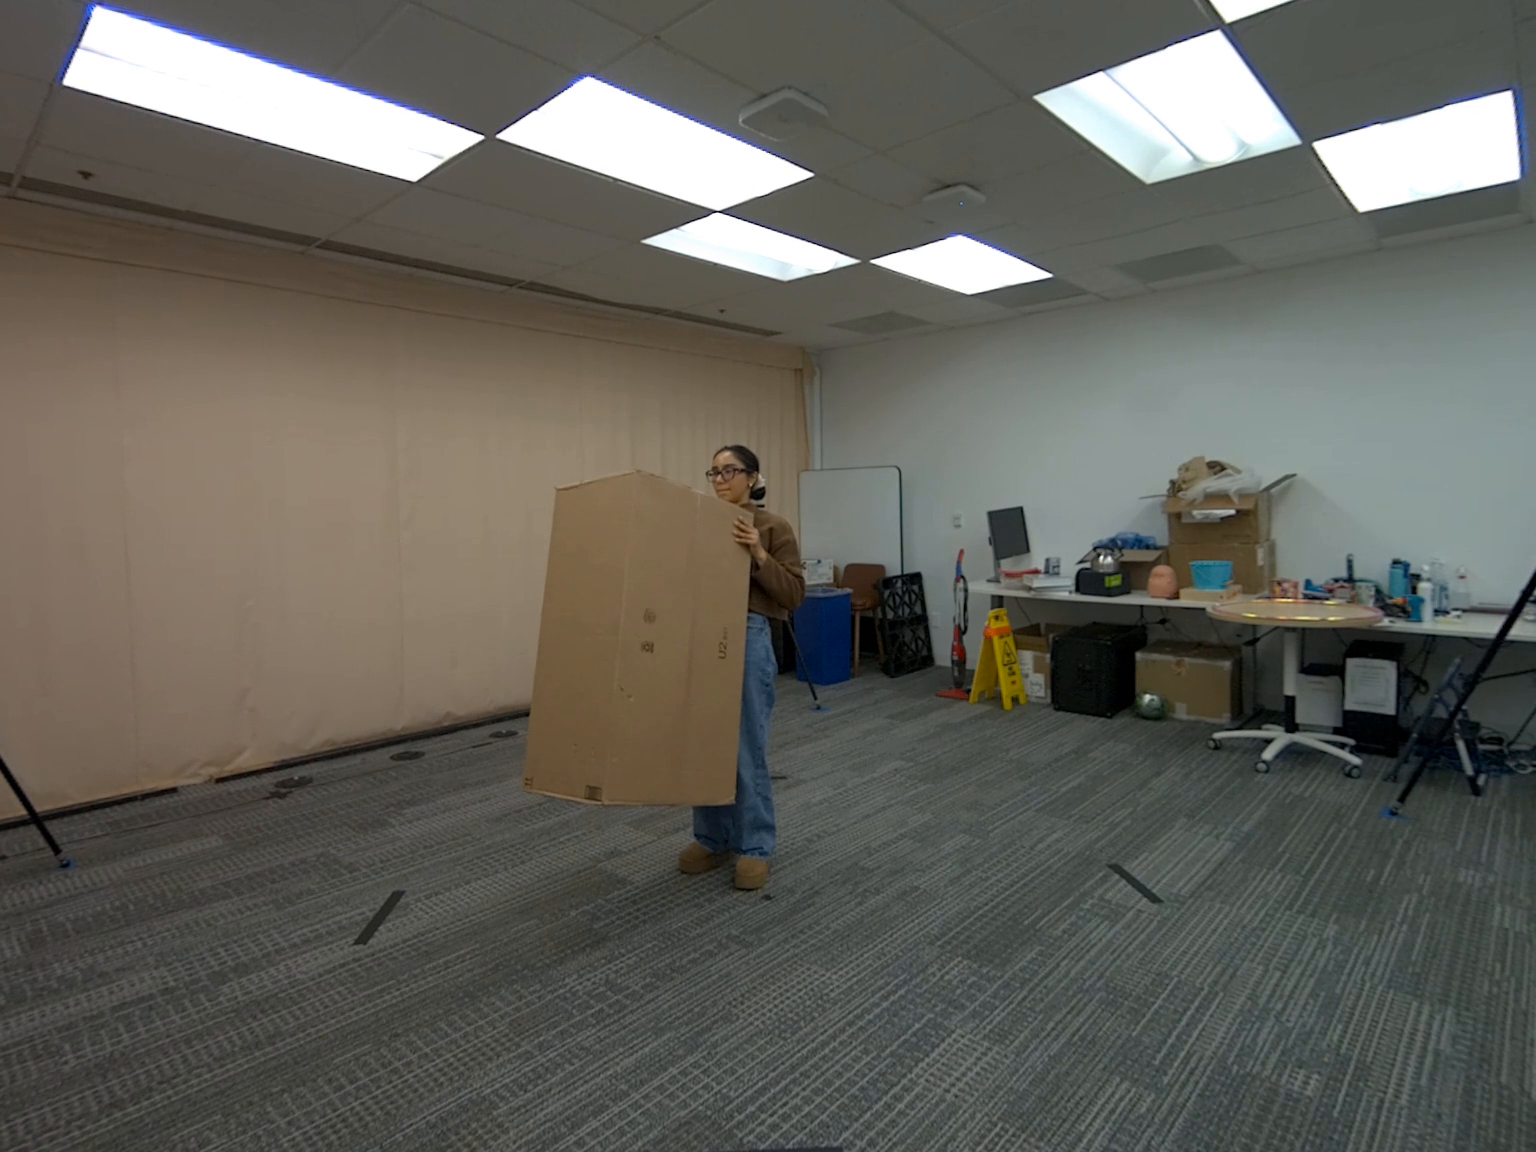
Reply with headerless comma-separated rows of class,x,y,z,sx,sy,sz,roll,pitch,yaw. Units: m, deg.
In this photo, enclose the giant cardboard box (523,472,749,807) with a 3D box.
giant cardboard box,-0.429,0.230,2.871,0.439,1.032,0.557,-7,-16,43
